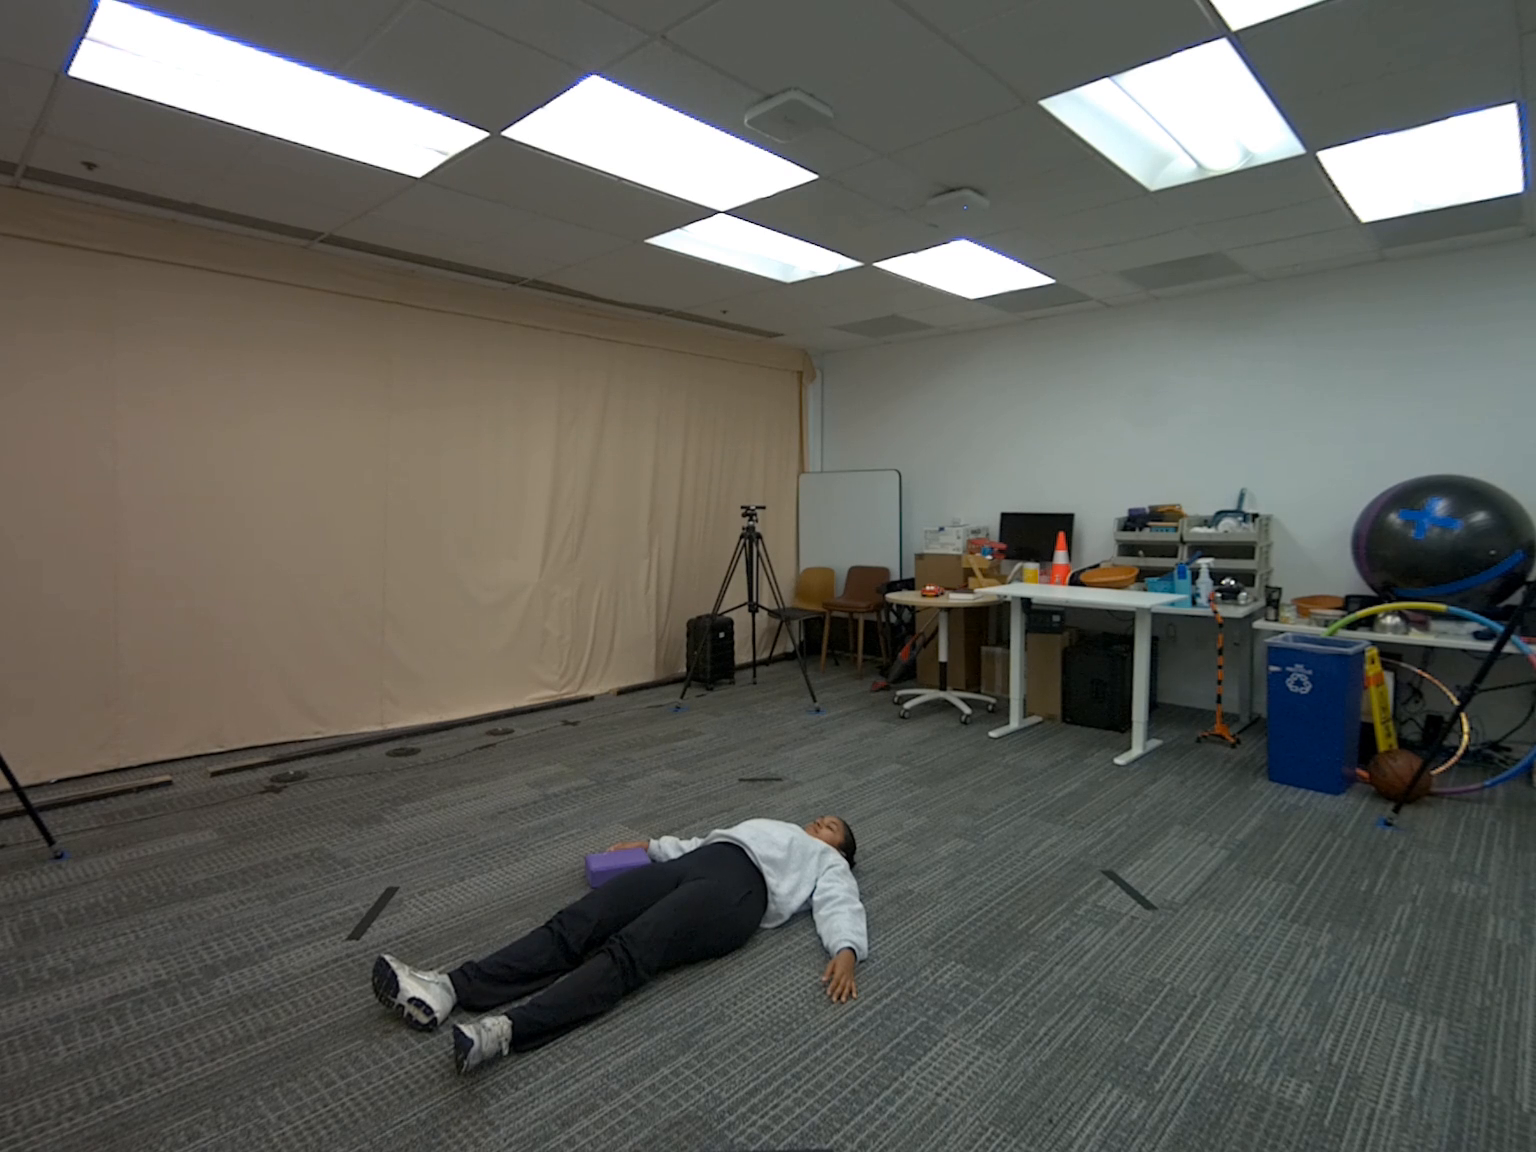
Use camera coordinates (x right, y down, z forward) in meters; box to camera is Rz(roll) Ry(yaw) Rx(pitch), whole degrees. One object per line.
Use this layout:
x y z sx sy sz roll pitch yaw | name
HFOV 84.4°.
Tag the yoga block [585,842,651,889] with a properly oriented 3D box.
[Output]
-0.565 1.095 3.163 0.225 0.076 0.152 -2 5 -19 | yoga block
